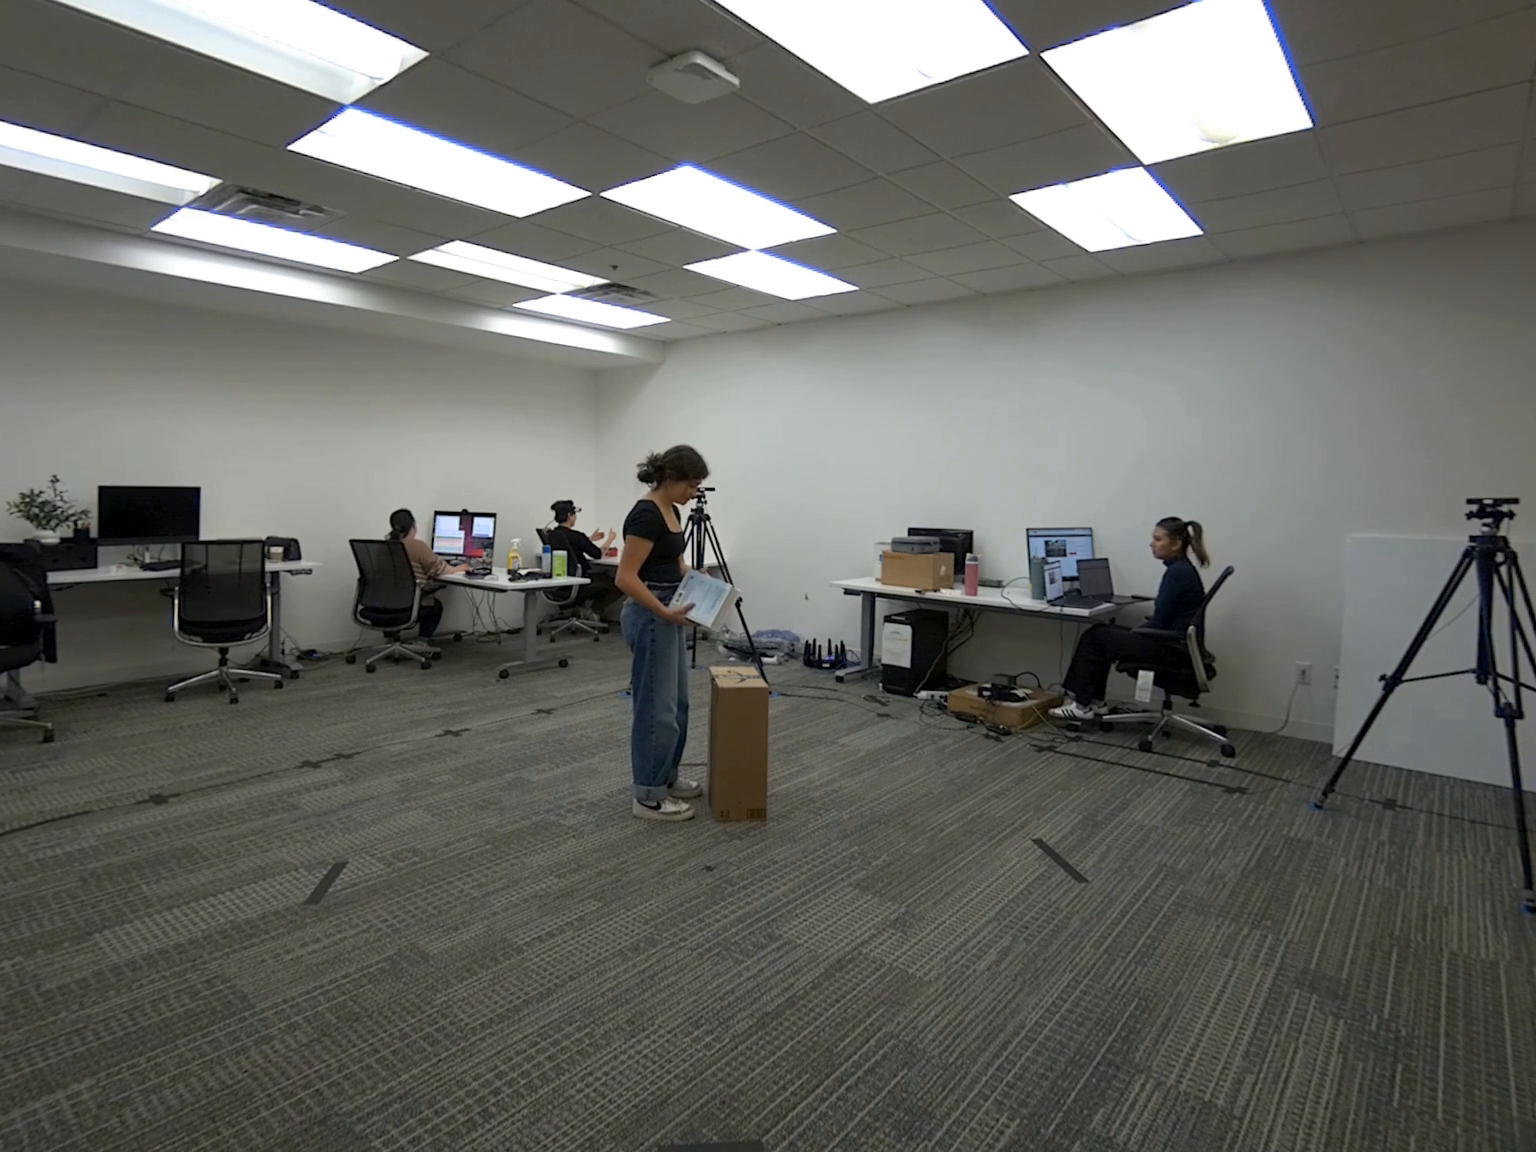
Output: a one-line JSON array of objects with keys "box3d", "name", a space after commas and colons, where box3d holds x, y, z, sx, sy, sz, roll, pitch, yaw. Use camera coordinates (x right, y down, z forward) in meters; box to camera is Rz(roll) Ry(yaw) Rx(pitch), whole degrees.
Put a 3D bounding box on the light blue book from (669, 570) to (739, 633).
[{"box3d": [-0.262, 0.094, 3.362, 0.271, 0.192, 0.056, 19, -13, 42], "name": "light blue book"}]
